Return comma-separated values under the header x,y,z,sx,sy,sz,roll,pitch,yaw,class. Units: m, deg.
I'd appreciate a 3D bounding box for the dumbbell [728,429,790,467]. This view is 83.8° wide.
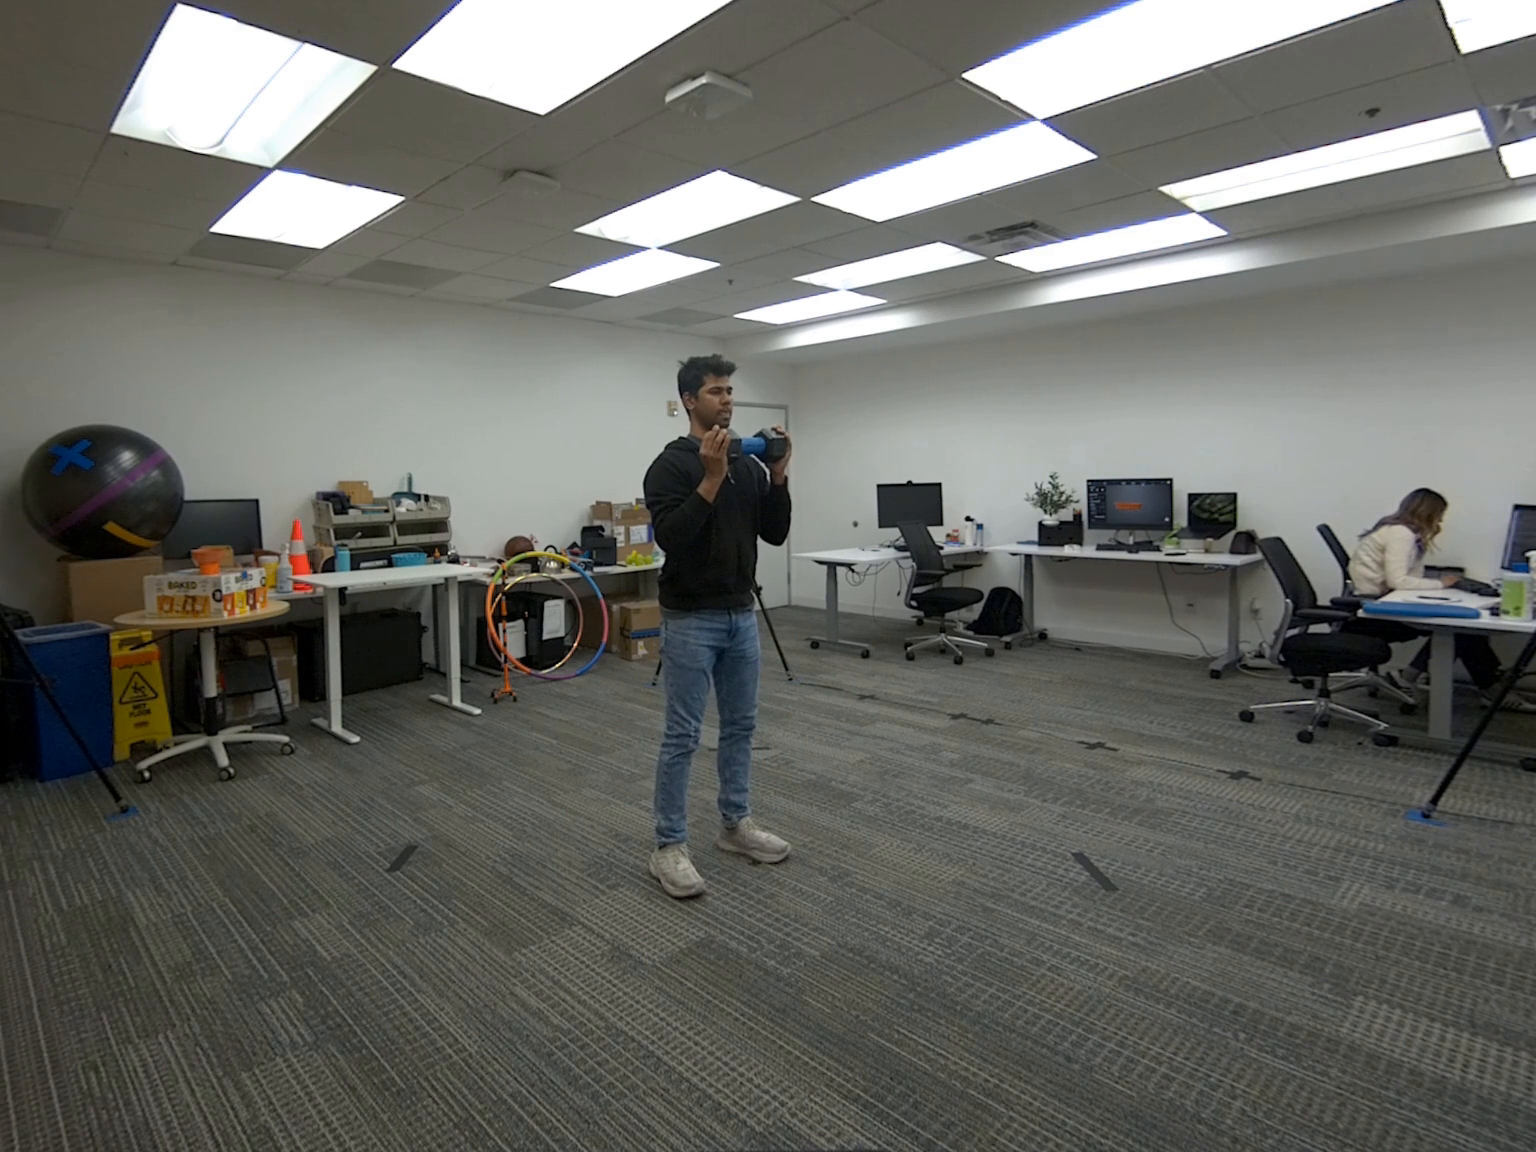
x,y,z,sx,sy,sz,roll,pitch,yaw,class
-0.082,-0.434,2.906,0.286,0.122,0.112,-10,14,-42,dumbbell
